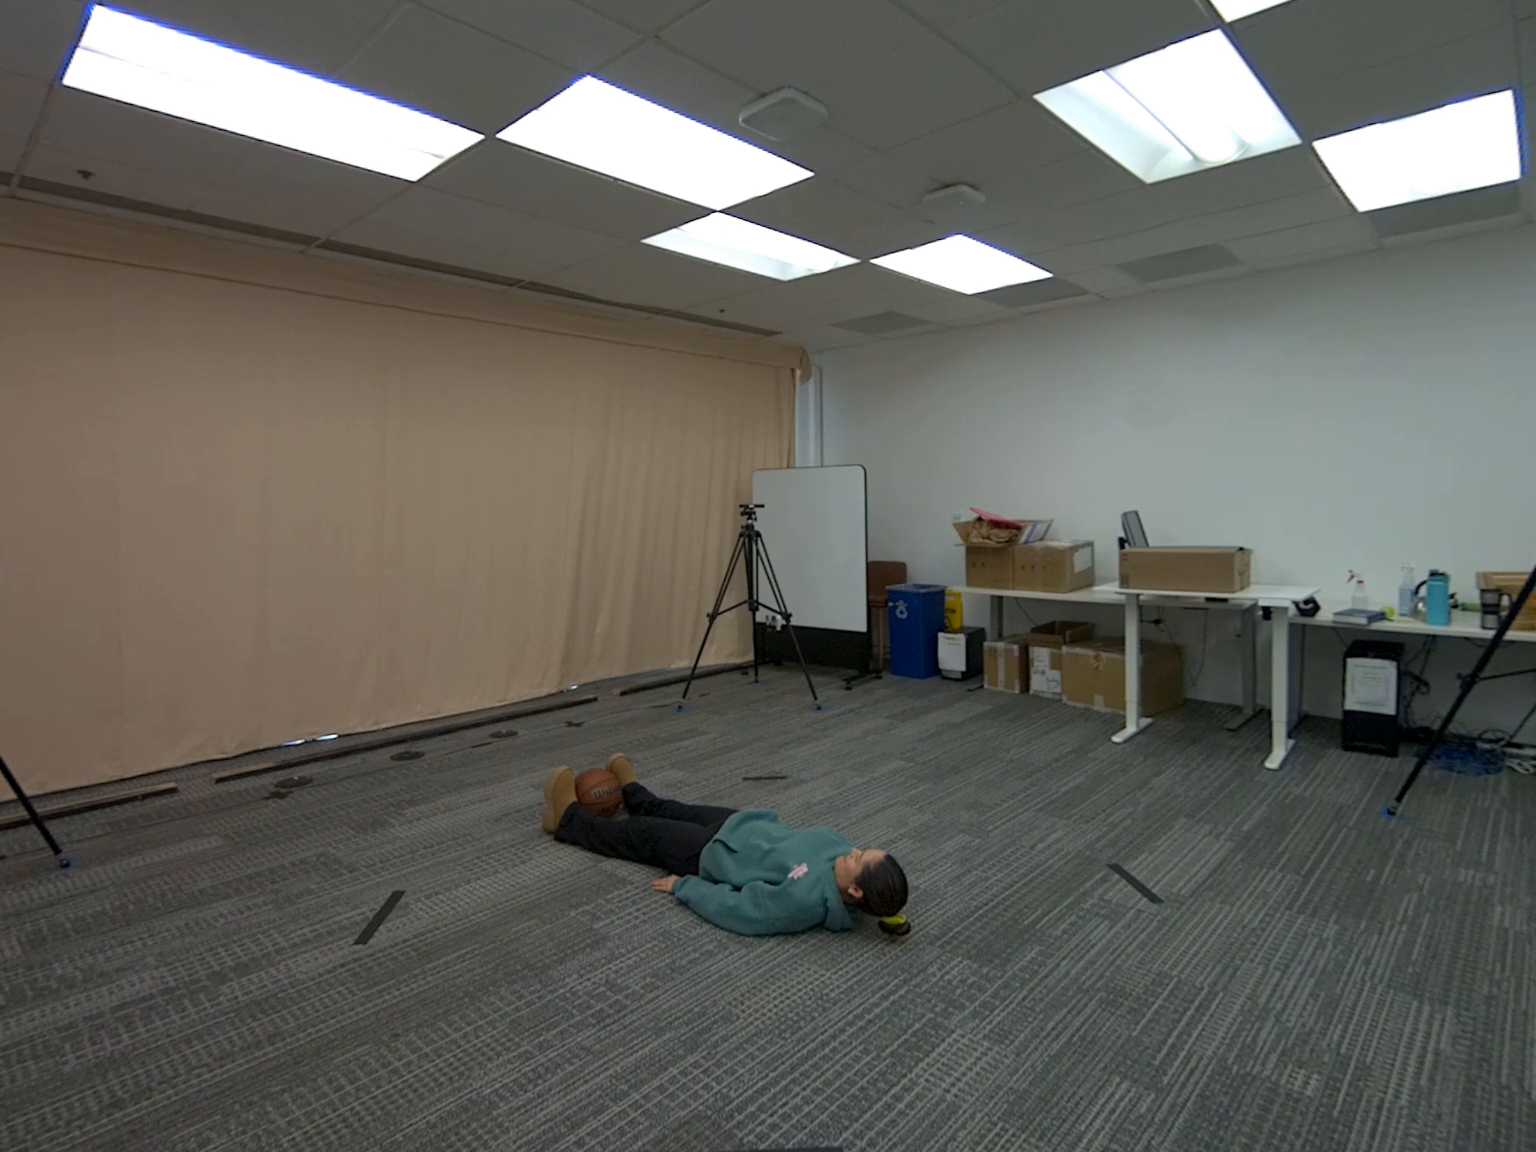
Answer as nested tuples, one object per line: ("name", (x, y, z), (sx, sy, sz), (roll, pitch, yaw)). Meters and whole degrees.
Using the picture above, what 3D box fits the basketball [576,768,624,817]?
("basketball", (-0.769, 0.978, 3.741), (0.236, 0.235, 0.237), (0, 4, -2))
